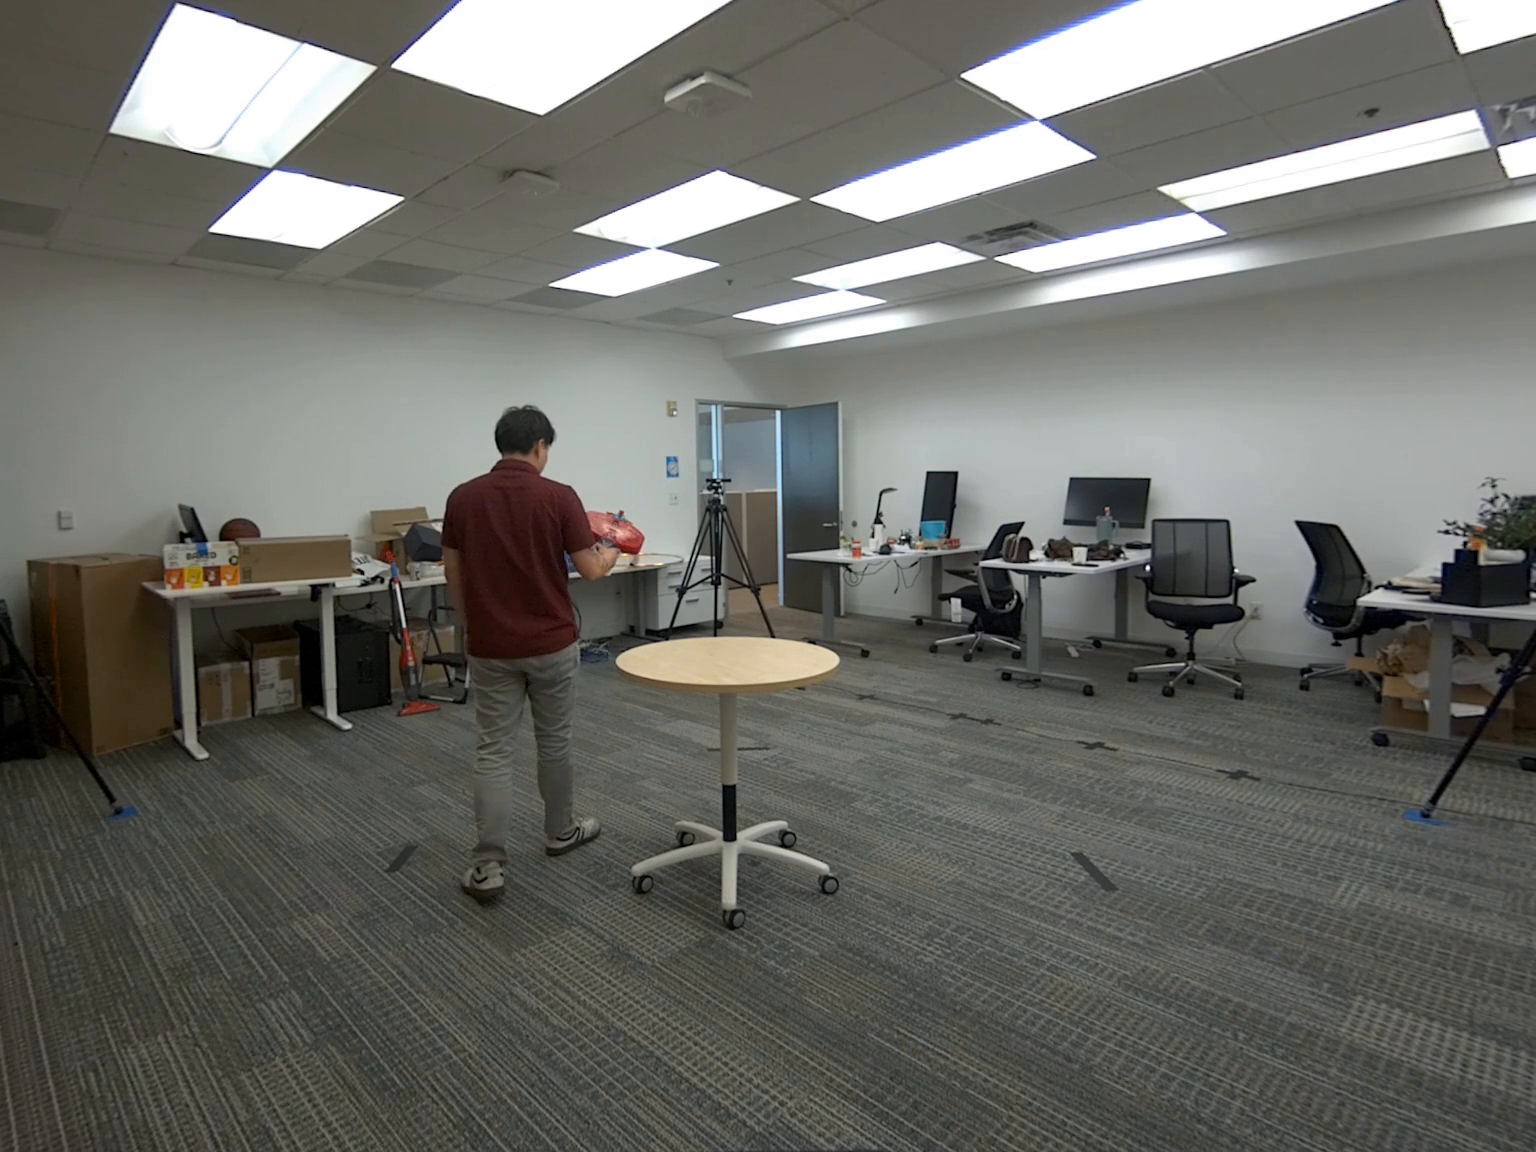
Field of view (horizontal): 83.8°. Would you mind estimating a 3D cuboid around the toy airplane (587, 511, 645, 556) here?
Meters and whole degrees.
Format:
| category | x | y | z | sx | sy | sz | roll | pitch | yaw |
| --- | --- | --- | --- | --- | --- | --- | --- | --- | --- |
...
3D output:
| category | x | y | z | sx | sy | sz | roll | pitch | yaw |
| --- | --- | --- | --- | --- | --- | --- | --- | --- | --- |
| toy airplane | -0.617 | -0.124 | 3.395 | 0.246 | 0.267 | 0.155 | 0 | -34 | -21 |
